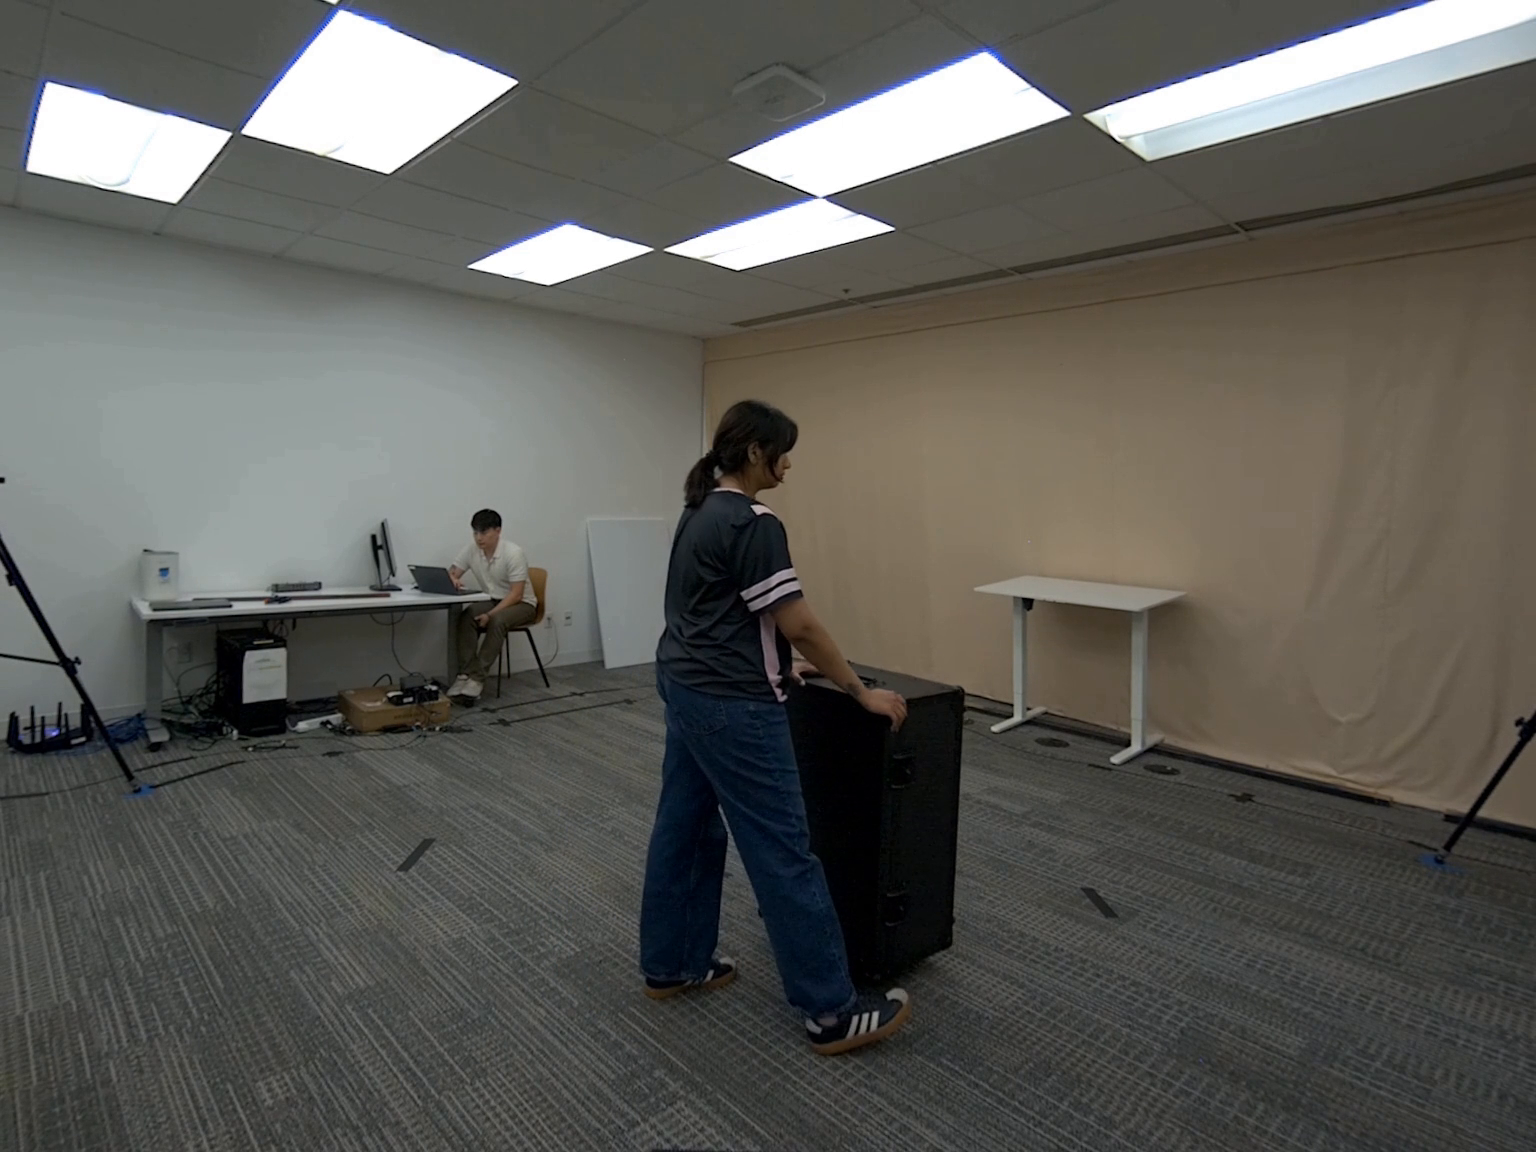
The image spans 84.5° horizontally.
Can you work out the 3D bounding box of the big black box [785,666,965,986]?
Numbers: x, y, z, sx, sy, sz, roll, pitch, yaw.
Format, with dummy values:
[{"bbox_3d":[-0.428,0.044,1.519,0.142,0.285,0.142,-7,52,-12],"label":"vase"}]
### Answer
[{"bbox_3d":[0.267,0.742,2.580,0.376,0.866,0.537,-1,5,-40],"label":"big black box"}]
